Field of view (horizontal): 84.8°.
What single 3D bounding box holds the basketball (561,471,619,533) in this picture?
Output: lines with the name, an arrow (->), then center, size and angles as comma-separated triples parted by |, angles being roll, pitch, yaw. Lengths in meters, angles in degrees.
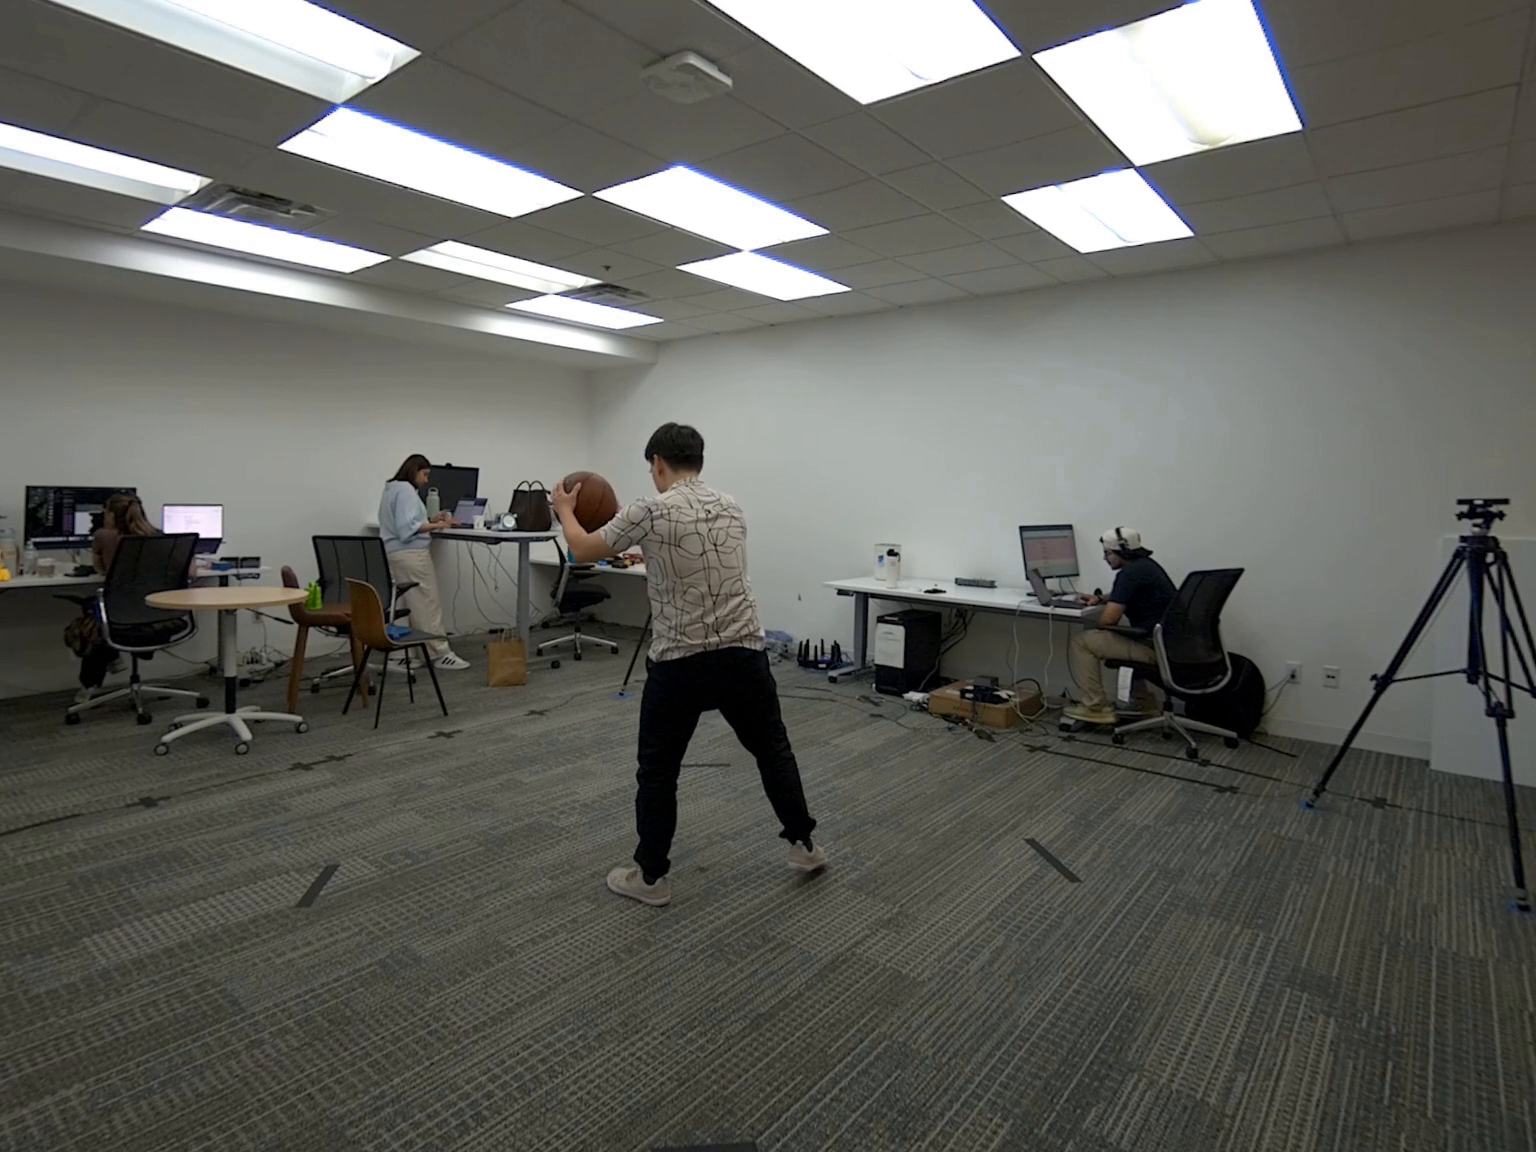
basketball -> -0.696, -0.267, 3.212 | 0.235, 0.235, 0.237 | 1, 4, -2
